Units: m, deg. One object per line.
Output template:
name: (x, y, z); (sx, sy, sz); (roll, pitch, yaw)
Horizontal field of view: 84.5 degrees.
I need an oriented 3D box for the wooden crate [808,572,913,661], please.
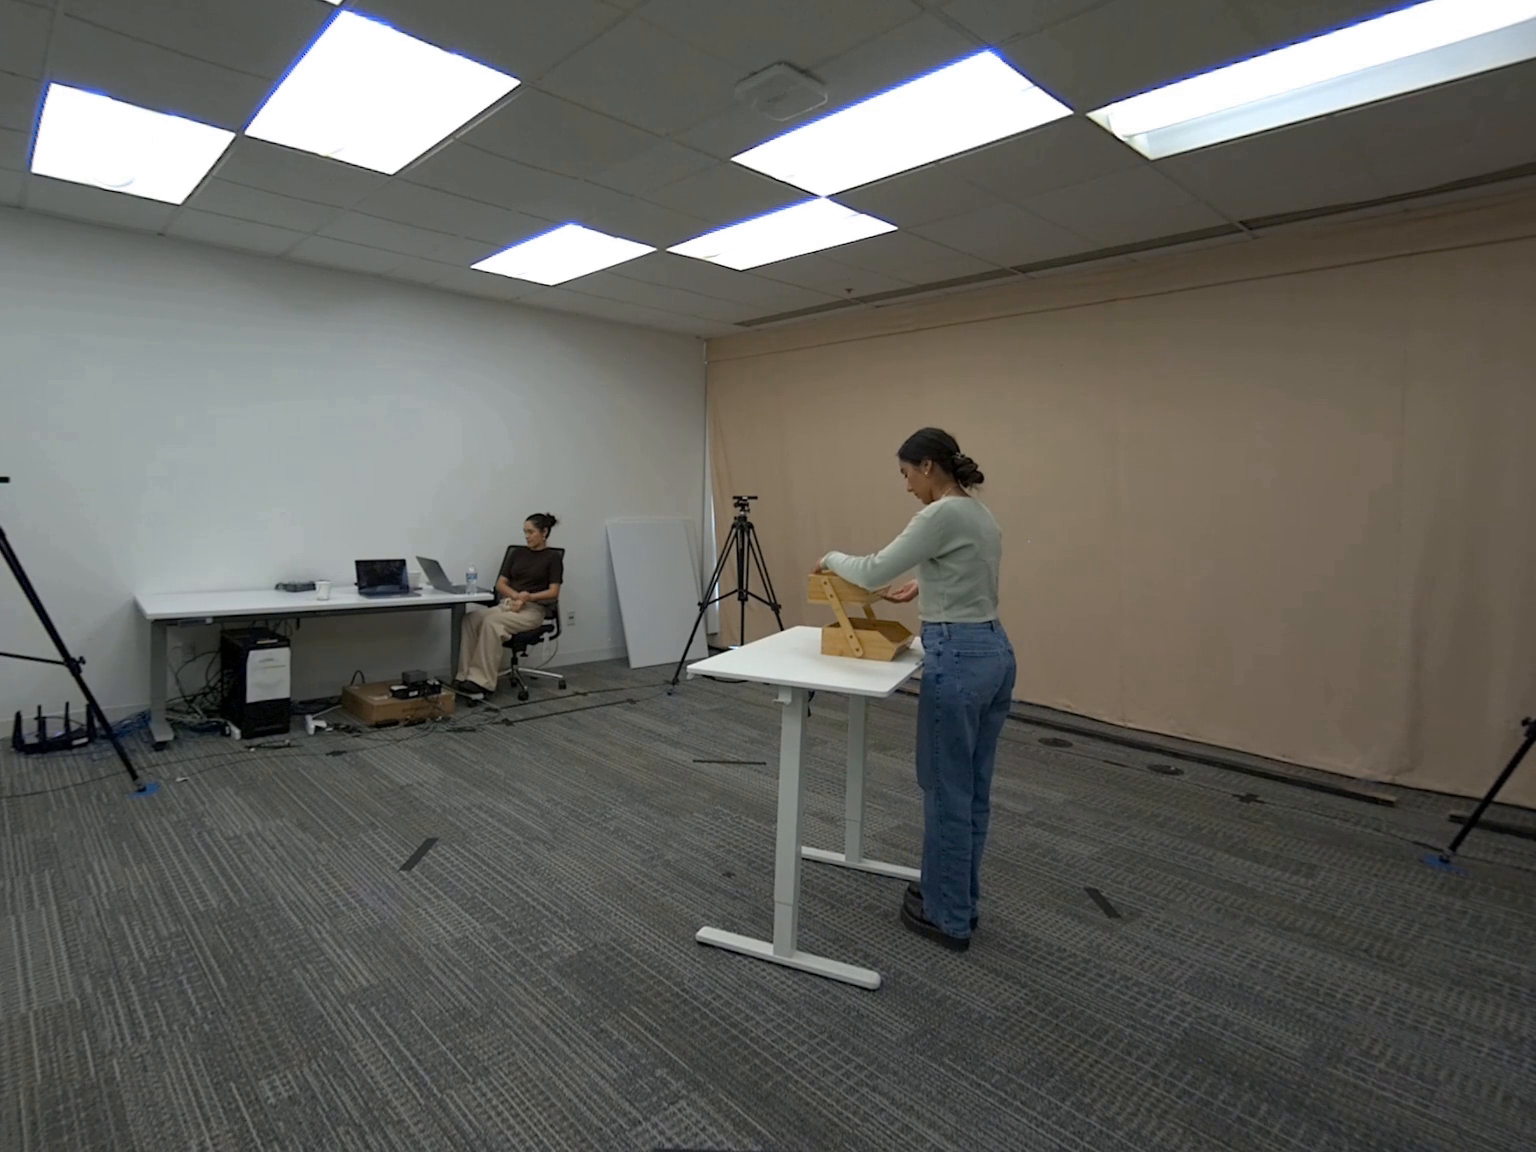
wooden crate: (0.319, 0.125, 2.861); (0.307, 0.273, 0.319); (3, 4, 21)
